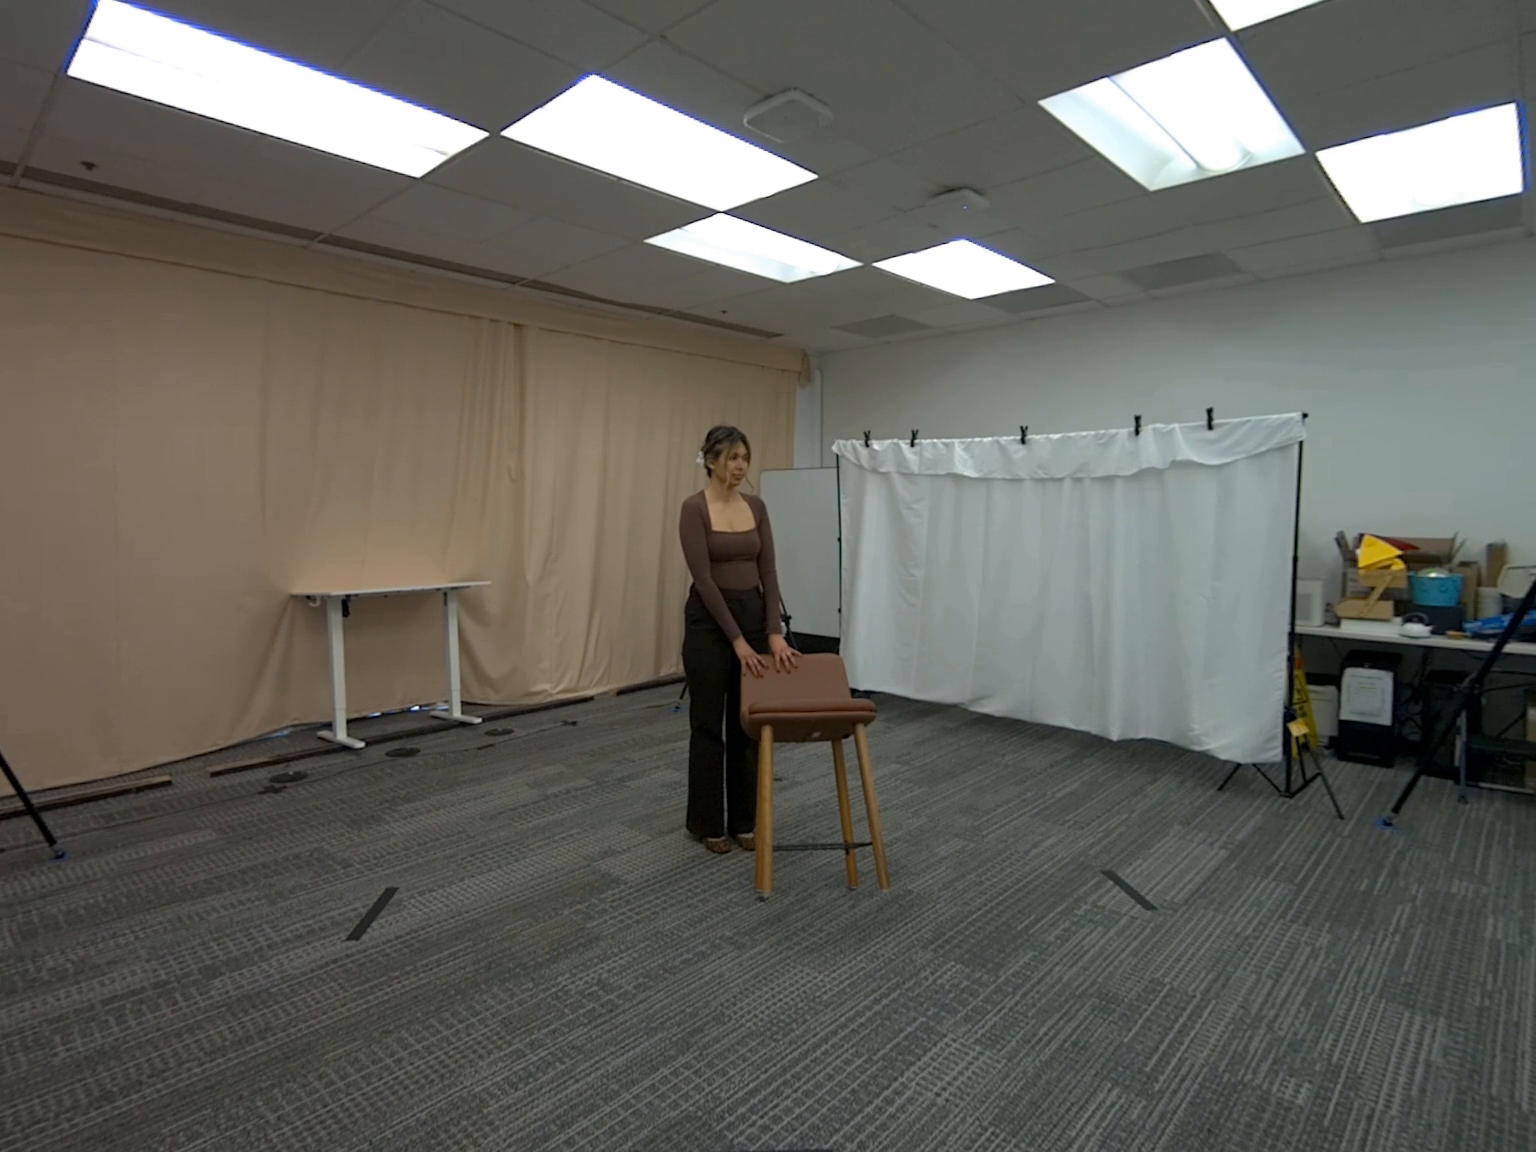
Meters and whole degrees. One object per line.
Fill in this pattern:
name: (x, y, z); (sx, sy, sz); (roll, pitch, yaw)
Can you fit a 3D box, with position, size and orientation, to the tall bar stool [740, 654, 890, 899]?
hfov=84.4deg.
tall bar stool: (0.148, 0.658, 3.016); (0.455, 0.902, 0.463); (-1, -22, -4)
